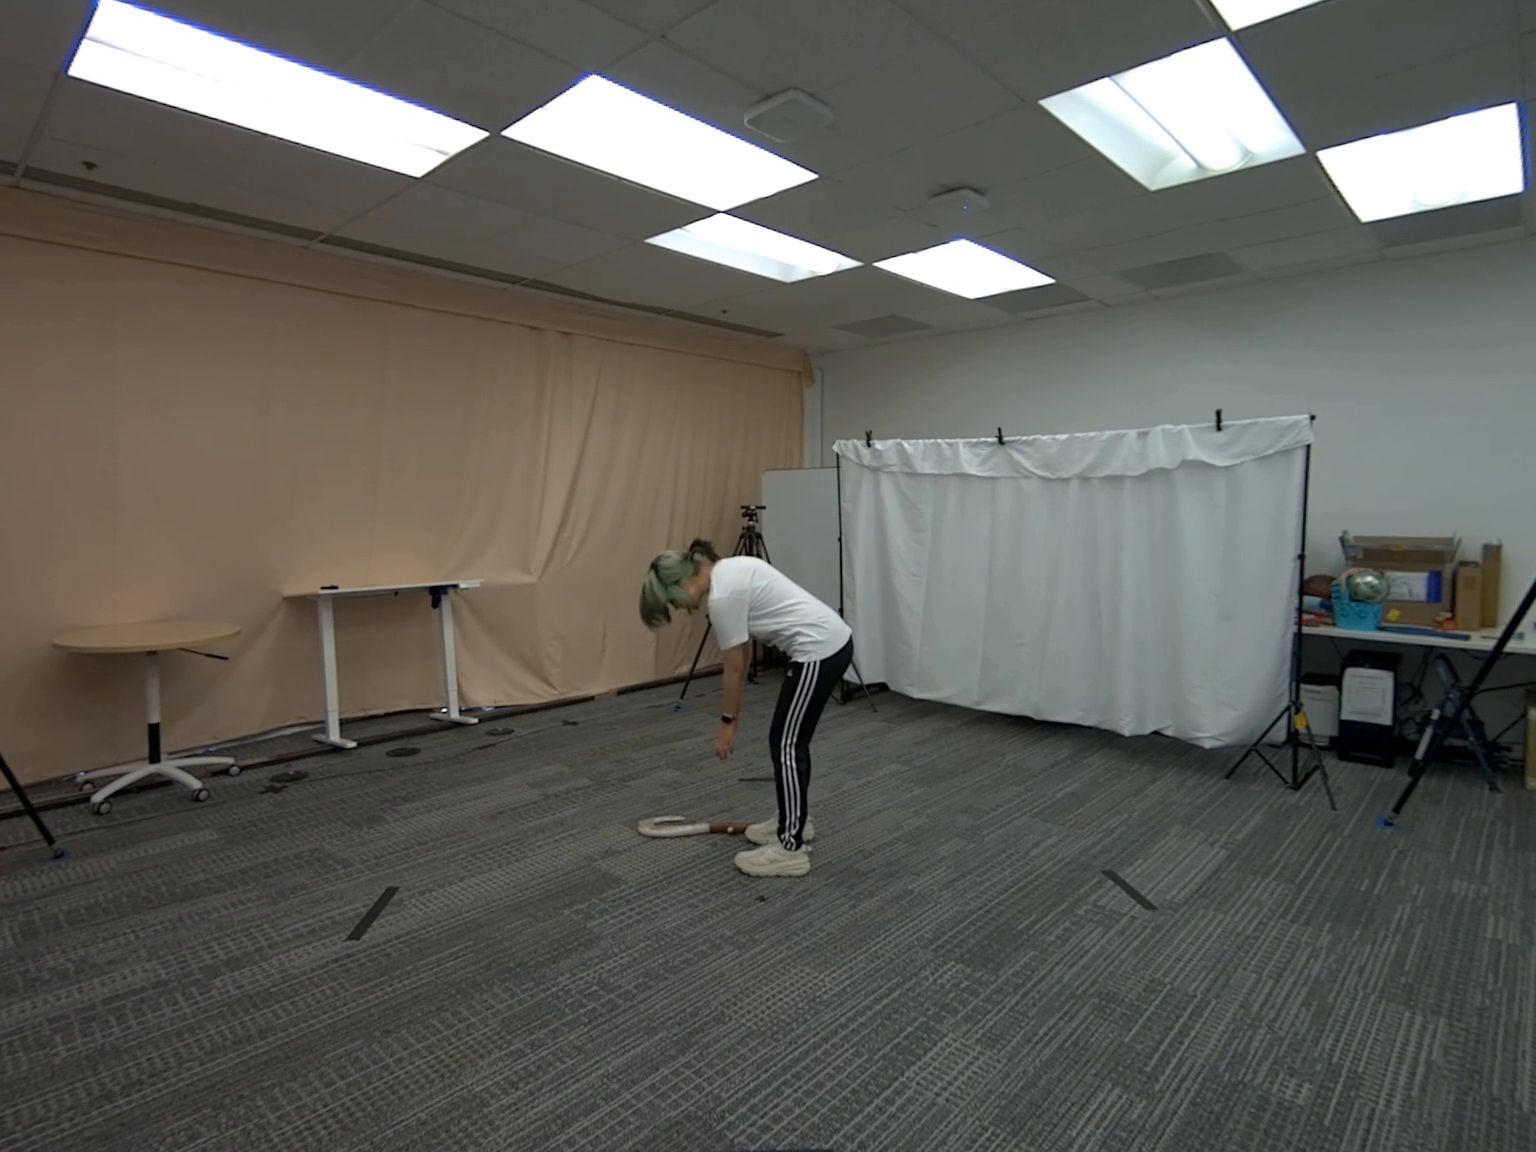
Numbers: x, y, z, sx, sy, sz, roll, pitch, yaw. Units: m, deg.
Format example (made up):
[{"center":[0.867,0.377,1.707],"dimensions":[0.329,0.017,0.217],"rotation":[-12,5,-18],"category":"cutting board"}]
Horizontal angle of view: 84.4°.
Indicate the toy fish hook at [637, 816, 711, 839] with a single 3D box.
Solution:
[{"center":[-0.309,1.074,3.638],"dimensions":[0.506,0.048,0.225],"rotation":[0,5,-1],"category":"toy fish hook"}]
